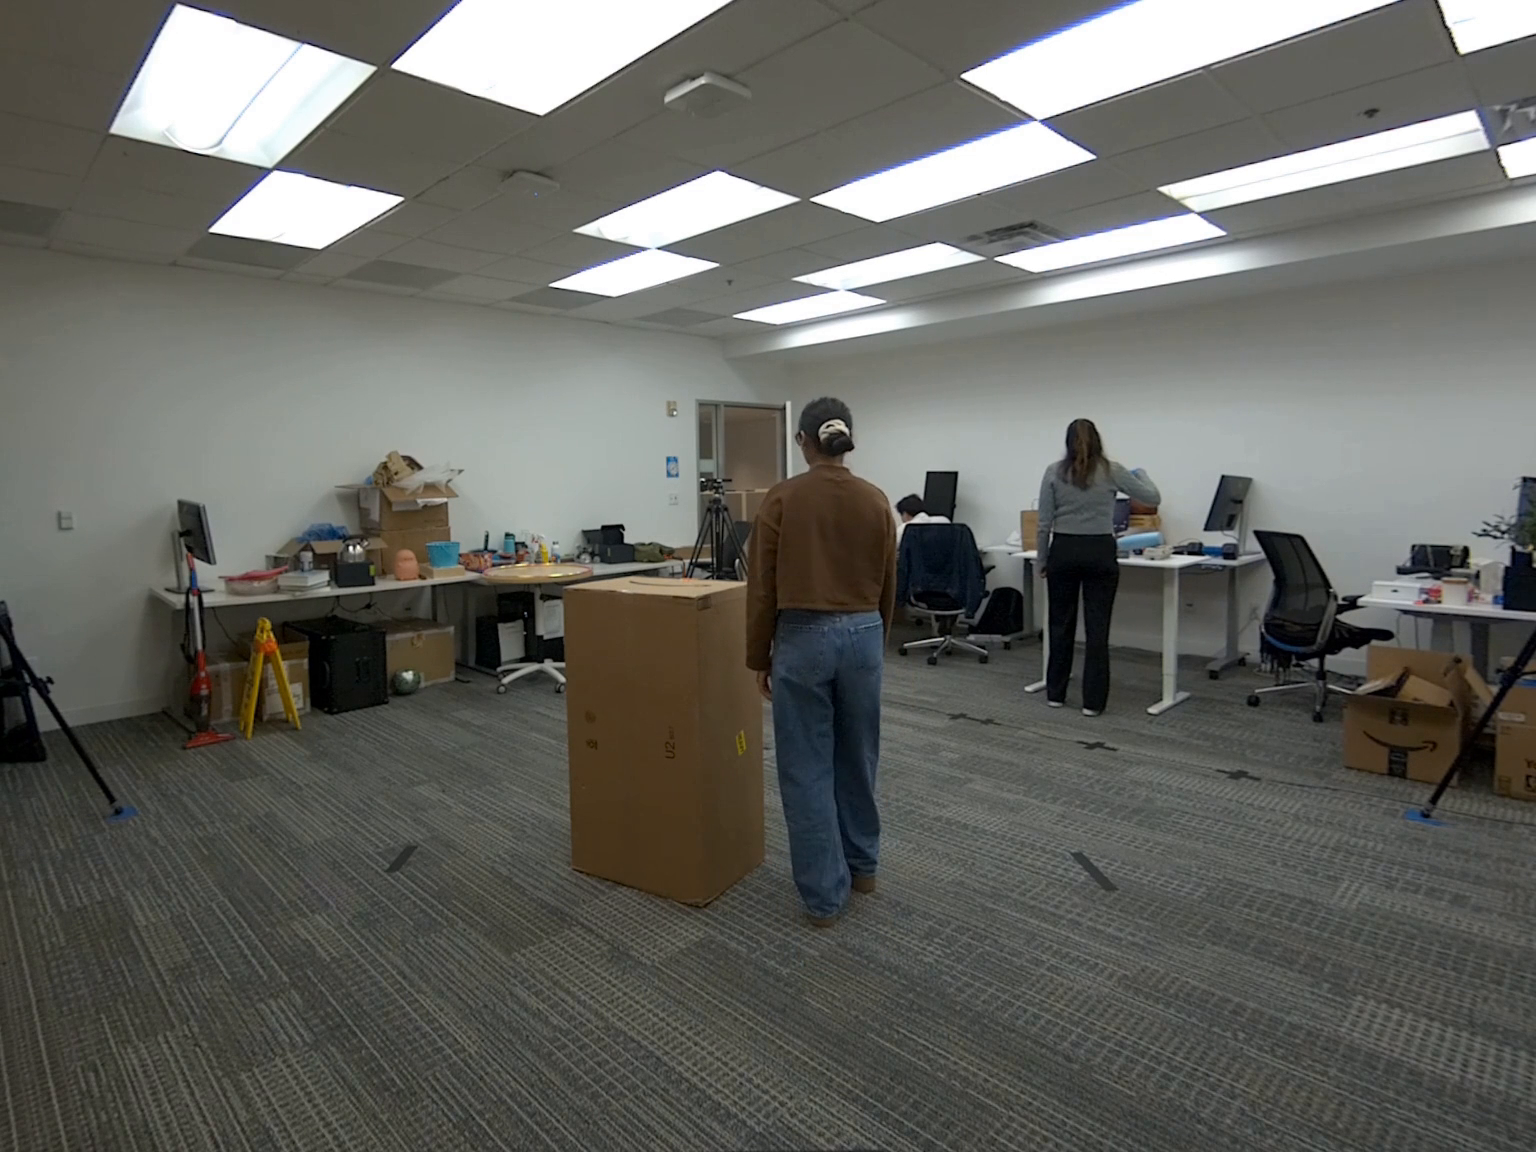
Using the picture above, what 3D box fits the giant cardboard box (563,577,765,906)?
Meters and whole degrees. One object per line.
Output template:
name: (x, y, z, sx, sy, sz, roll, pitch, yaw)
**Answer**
giant cardboard box: (-0.369, 0.541, 3.088, 0.593, 1.022, 0.416, 2, 4, 32)
